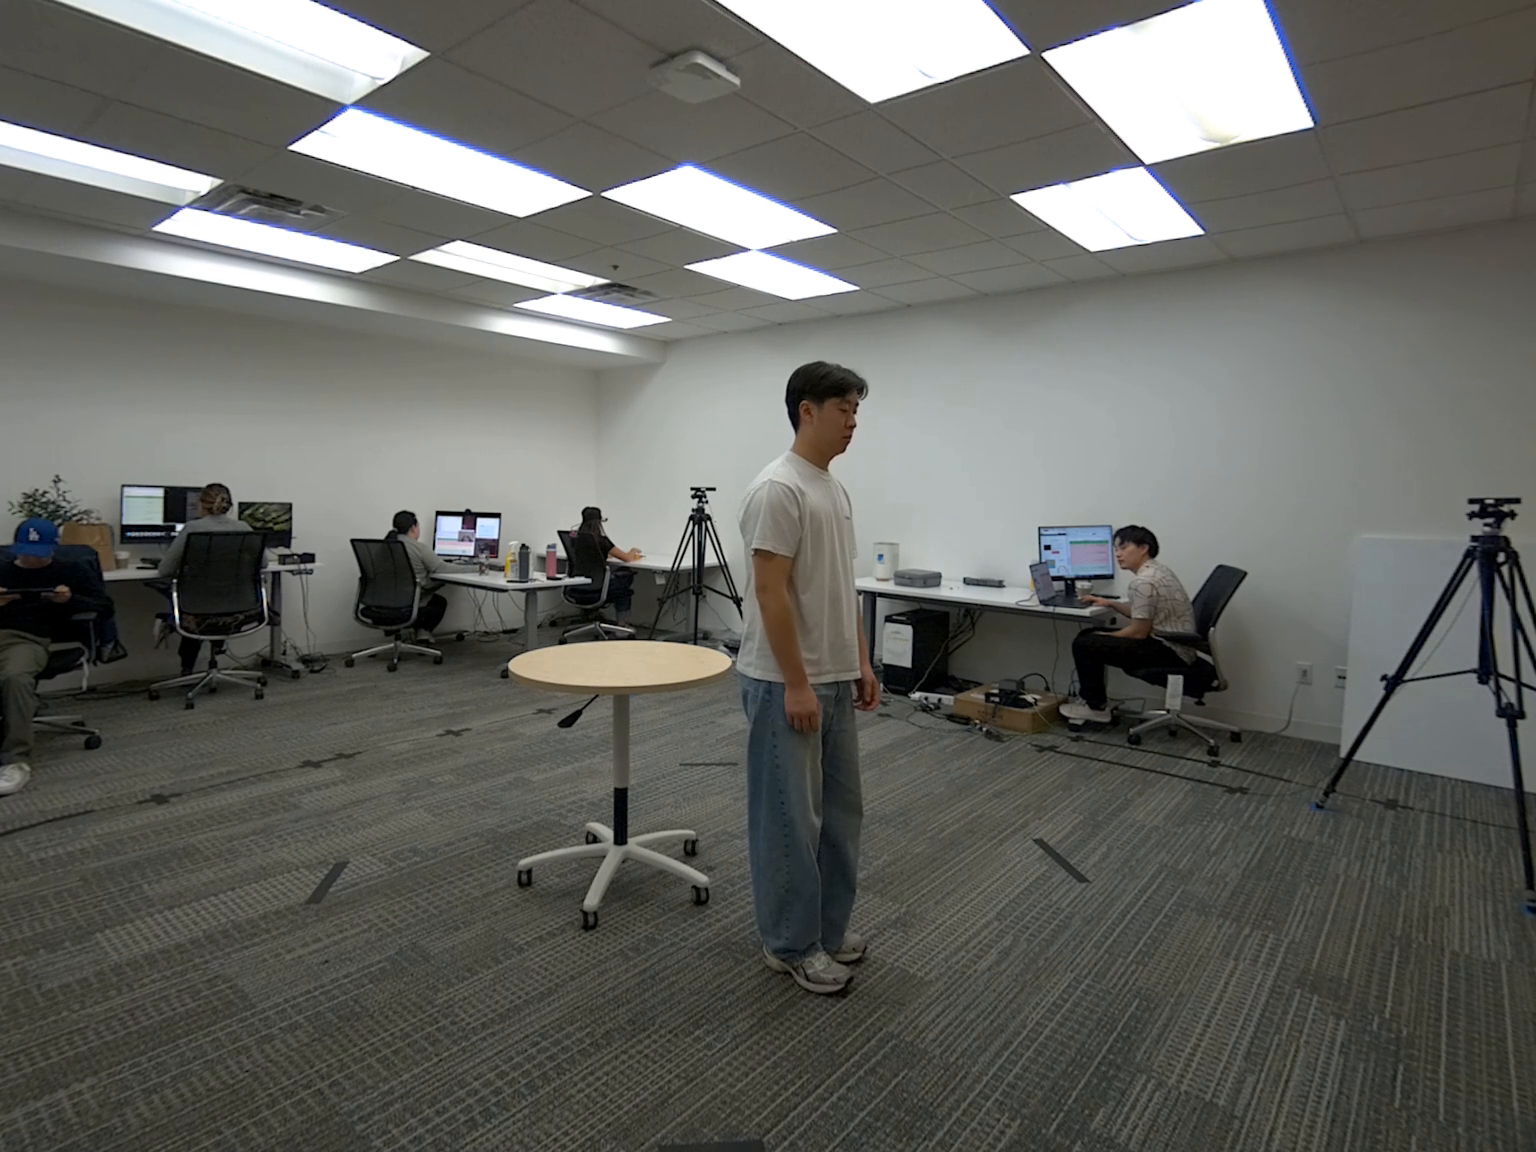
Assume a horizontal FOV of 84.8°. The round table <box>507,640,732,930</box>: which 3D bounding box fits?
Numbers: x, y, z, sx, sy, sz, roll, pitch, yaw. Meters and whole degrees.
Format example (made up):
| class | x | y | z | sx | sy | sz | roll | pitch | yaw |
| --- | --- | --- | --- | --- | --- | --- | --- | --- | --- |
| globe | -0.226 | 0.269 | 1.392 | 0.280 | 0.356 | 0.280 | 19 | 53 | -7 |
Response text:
| class | x | y | z | sx | sy | sz | roll | pitch | yaw |
| --- | --- | --- | --- | --- | --- | --- | --- | --- | --- |
| round table | -0.526 | 0.684 | 2.974 | 0.763 | 0.791 | 0.768 | 0 | 4 | -2 |
